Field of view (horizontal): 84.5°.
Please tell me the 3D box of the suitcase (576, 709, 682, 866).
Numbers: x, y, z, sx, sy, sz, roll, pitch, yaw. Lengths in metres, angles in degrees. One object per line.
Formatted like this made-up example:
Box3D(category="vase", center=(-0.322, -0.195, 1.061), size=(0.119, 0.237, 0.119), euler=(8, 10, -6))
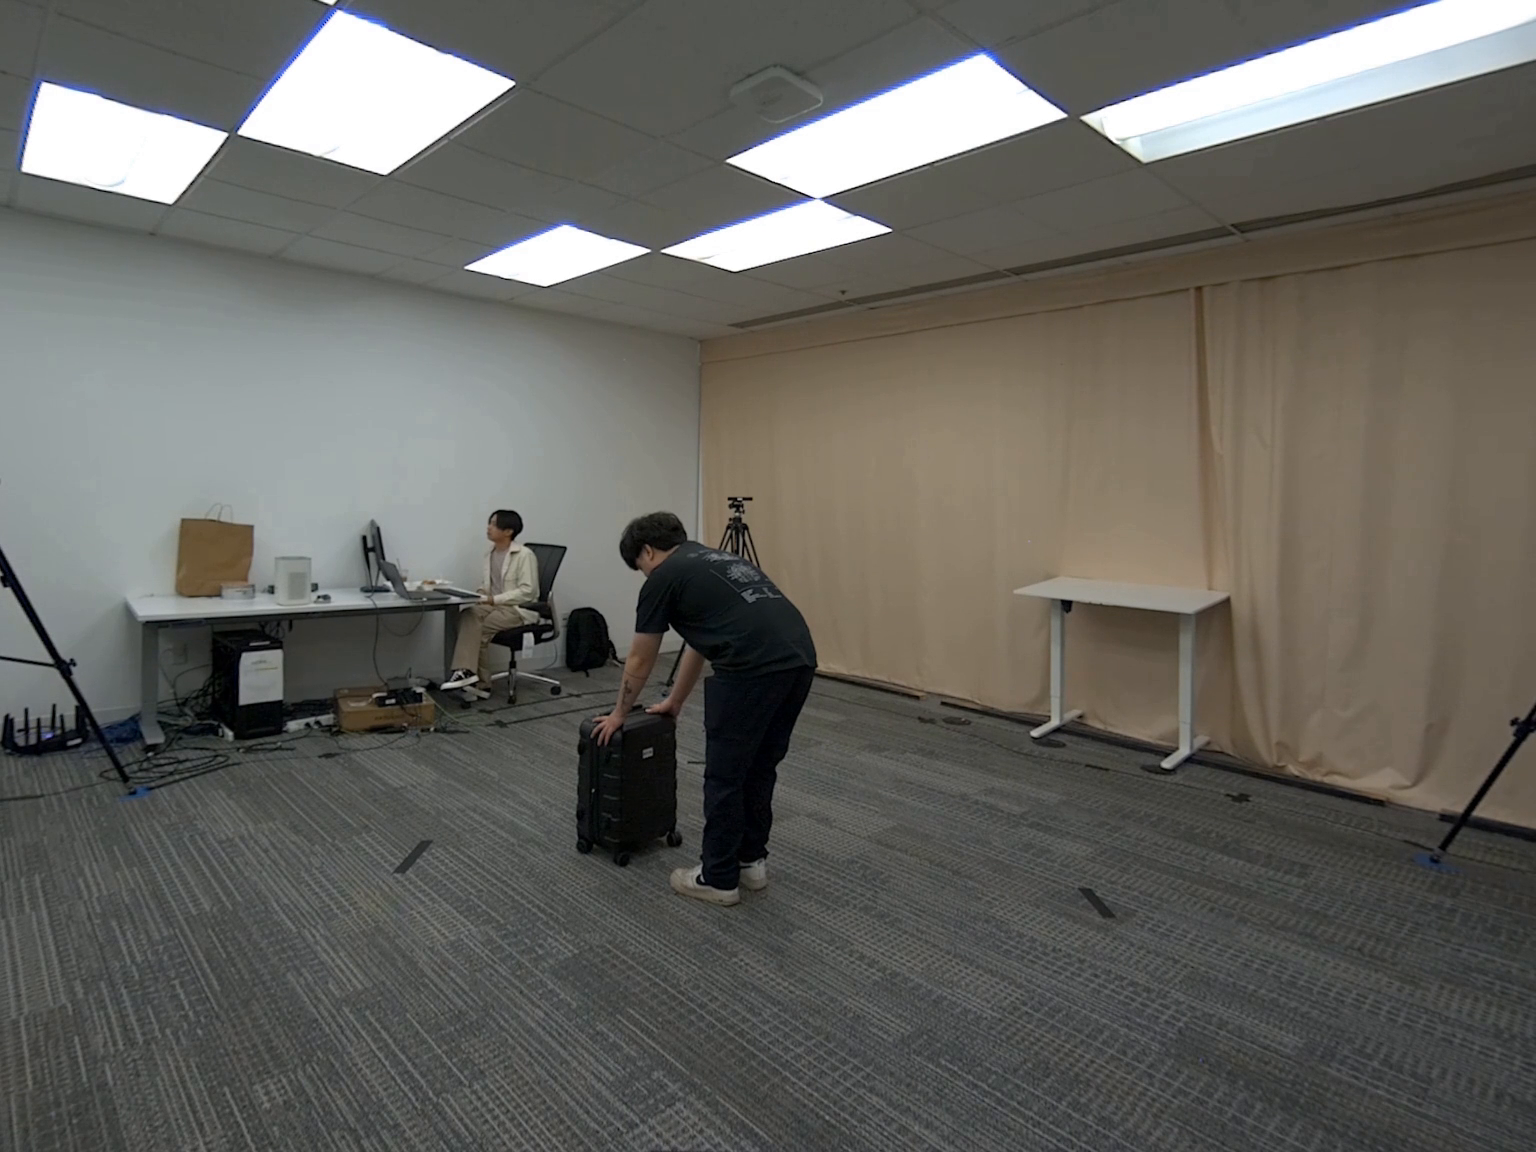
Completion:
Box3D(category="suitcase", center=(-0.563, 0.806, 3.333), size=(0.254, 0.548, 0.367), euler=(2, 3, 38))
